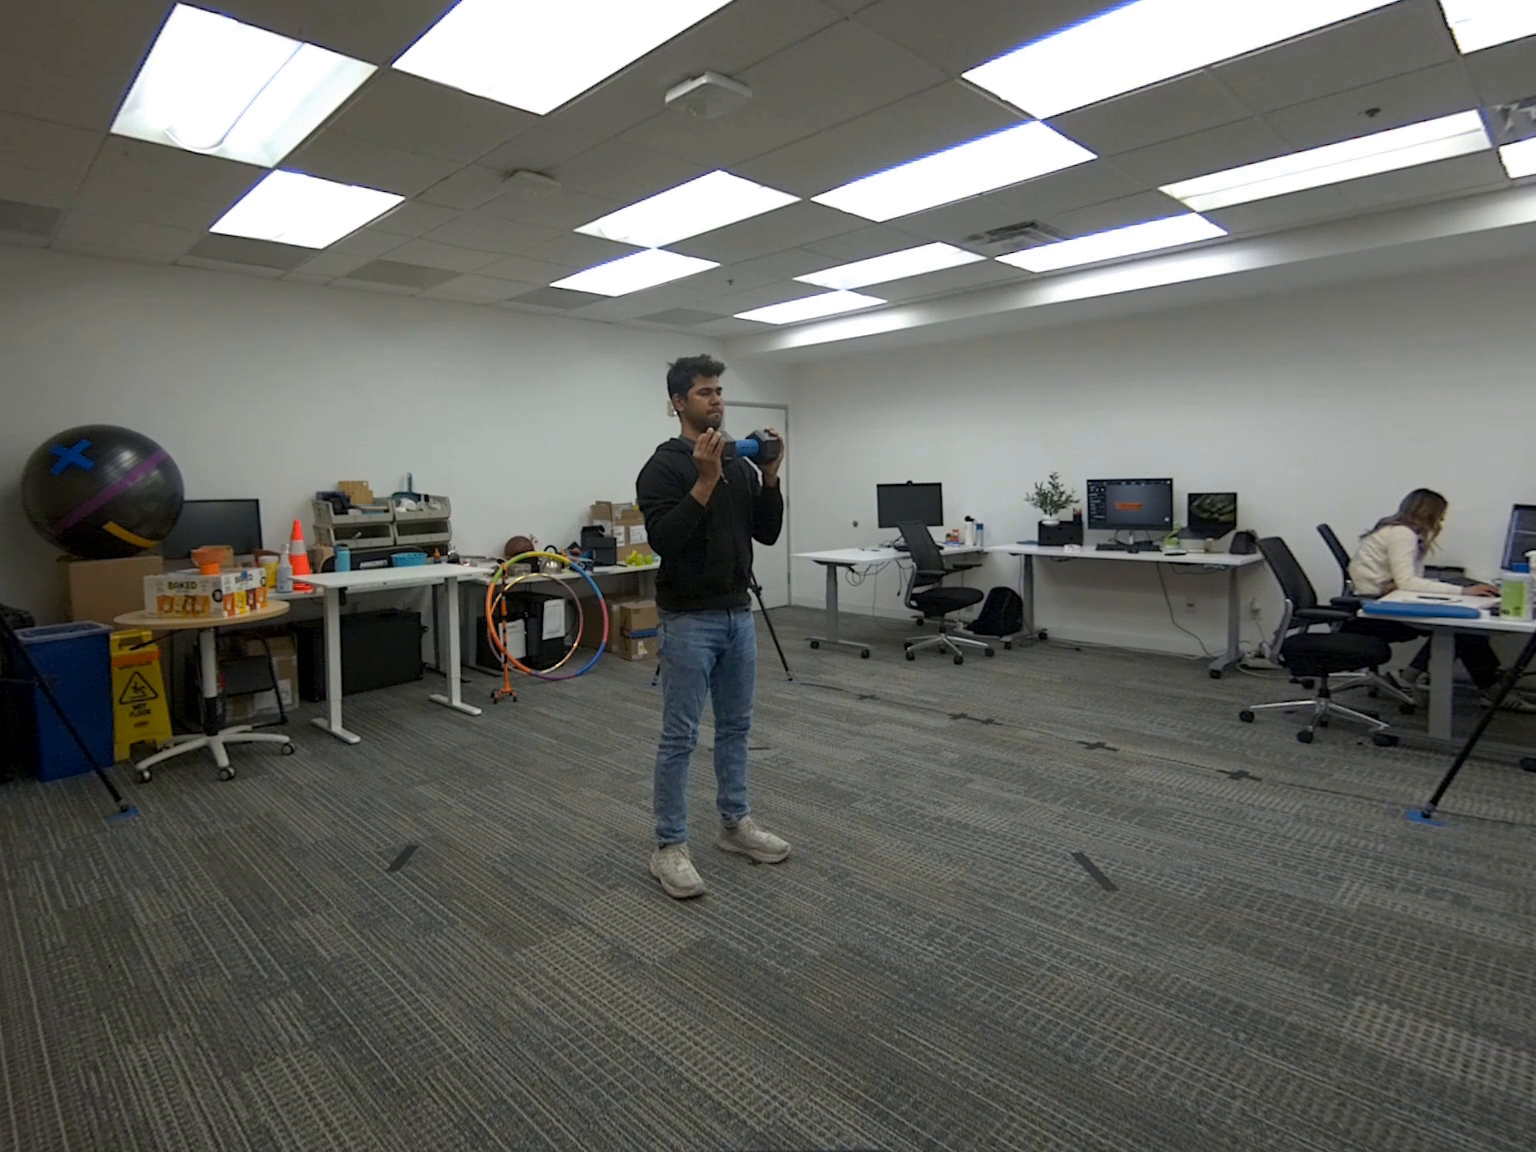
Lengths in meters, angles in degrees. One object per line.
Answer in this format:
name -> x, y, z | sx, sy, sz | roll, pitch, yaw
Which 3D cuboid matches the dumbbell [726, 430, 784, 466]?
dumbbell -> -0.099, -0.428, 2.889 | 0.287, 0.122, 0.112 | -12, 16, -43
